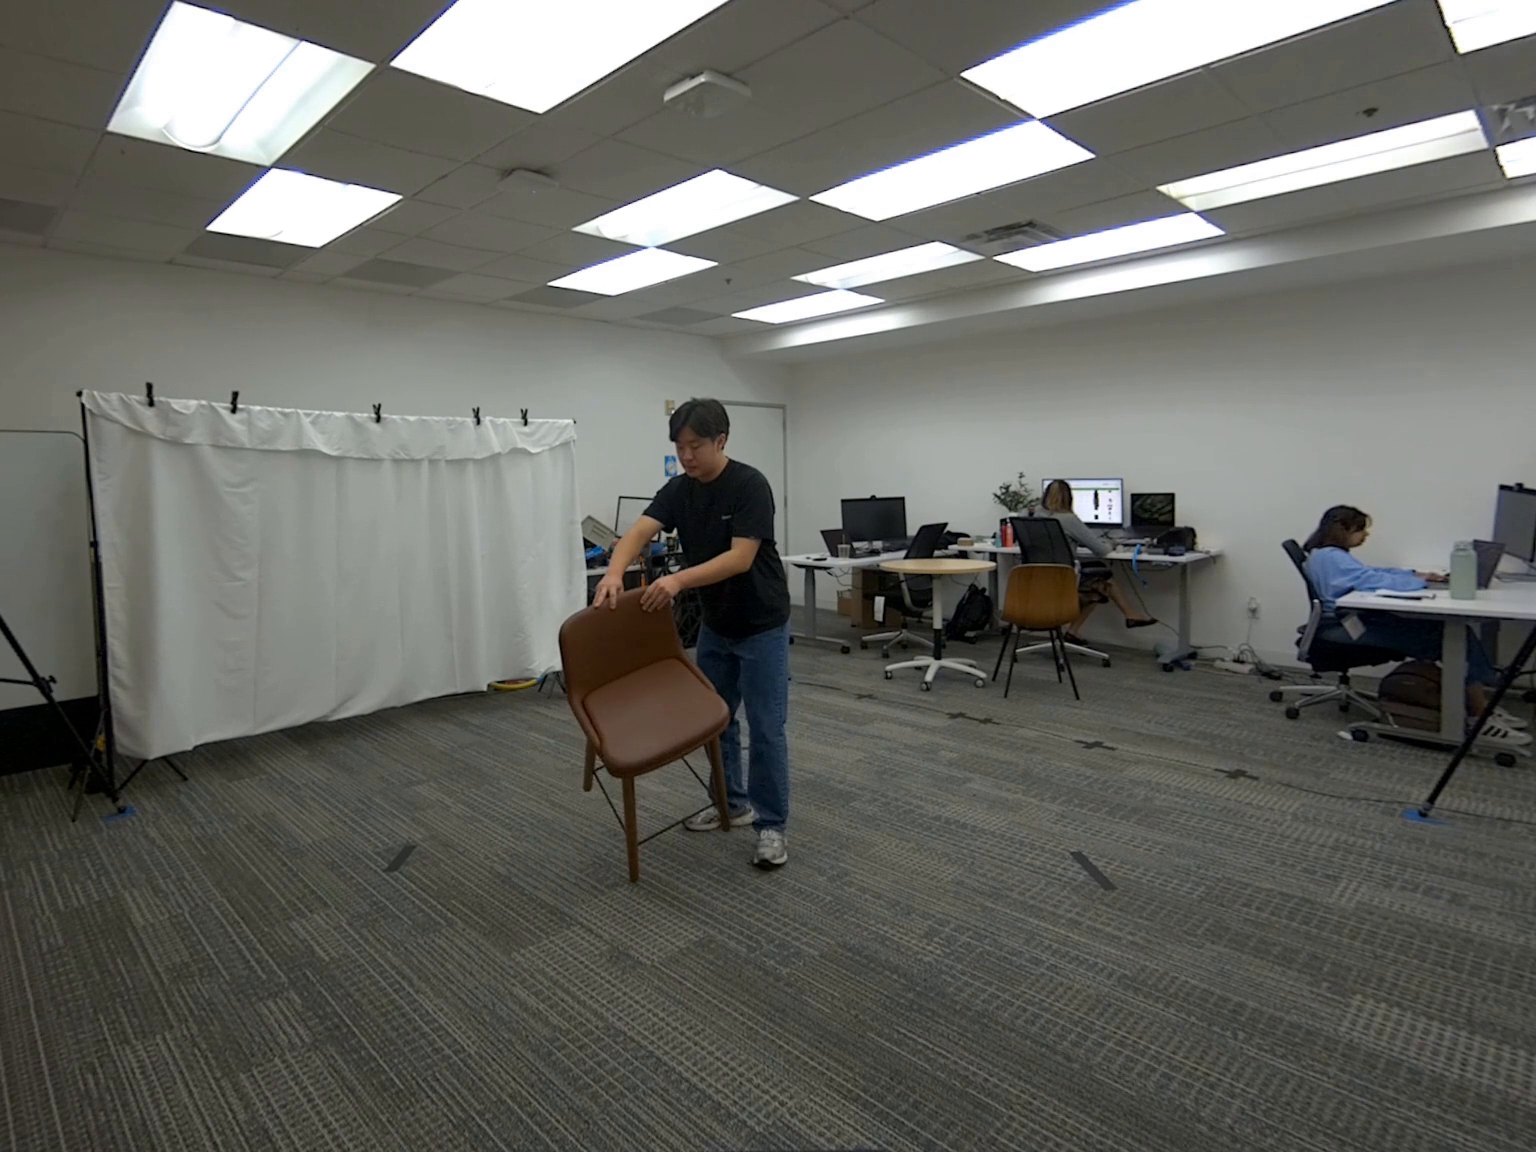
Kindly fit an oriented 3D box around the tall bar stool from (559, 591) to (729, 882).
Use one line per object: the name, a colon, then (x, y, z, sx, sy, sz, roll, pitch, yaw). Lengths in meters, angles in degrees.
tall bar stool: (-0.417, 0.543, 2.945, 0.450, 0.867, 0.486, -20, 42, -27)
